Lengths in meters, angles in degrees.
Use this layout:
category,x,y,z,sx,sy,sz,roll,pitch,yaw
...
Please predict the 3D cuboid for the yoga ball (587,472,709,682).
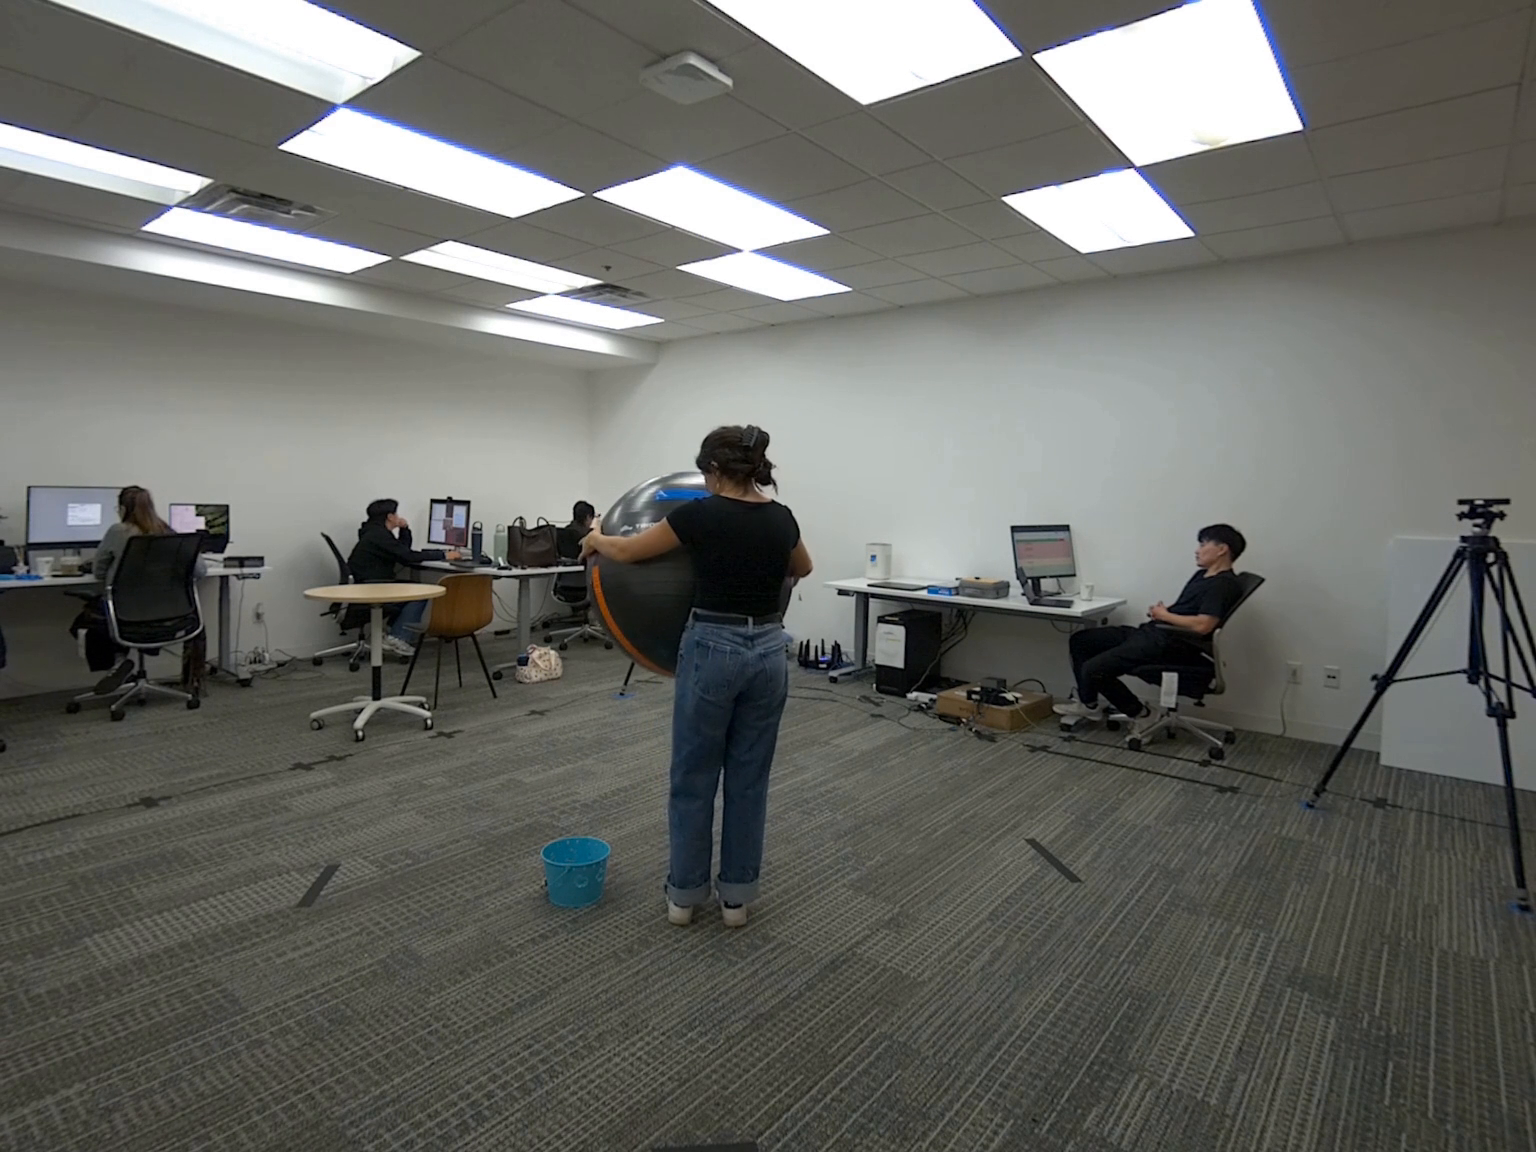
category,x,y,z,sx,sy,sz,roll,pitch,yaw
yoga ball,-0.308,-0.006,3.157,0.757,0.755,0.762,1,4,-2
